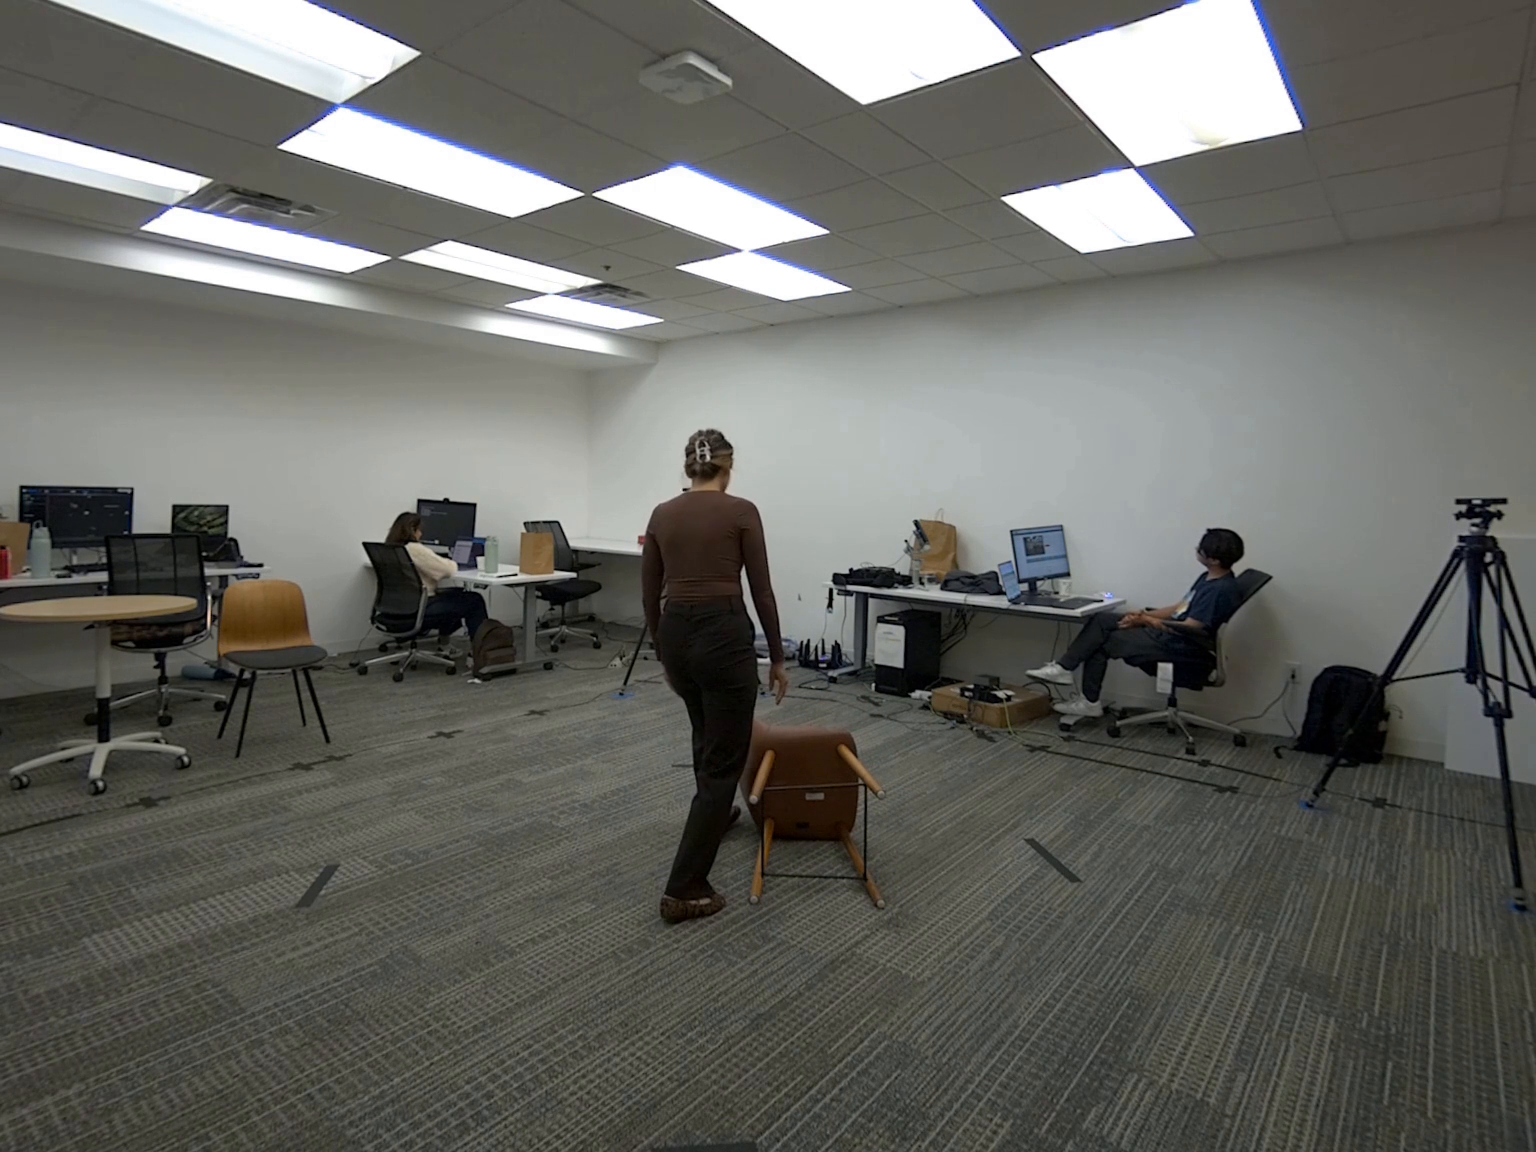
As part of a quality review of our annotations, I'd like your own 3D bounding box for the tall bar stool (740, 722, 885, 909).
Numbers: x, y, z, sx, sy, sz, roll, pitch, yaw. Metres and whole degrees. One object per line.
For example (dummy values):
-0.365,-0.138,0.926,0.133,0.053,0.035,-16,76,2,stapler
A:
0.128,0.851,3.261,0.466,0.454,0.898,-1,7,-4,tall bar stool
